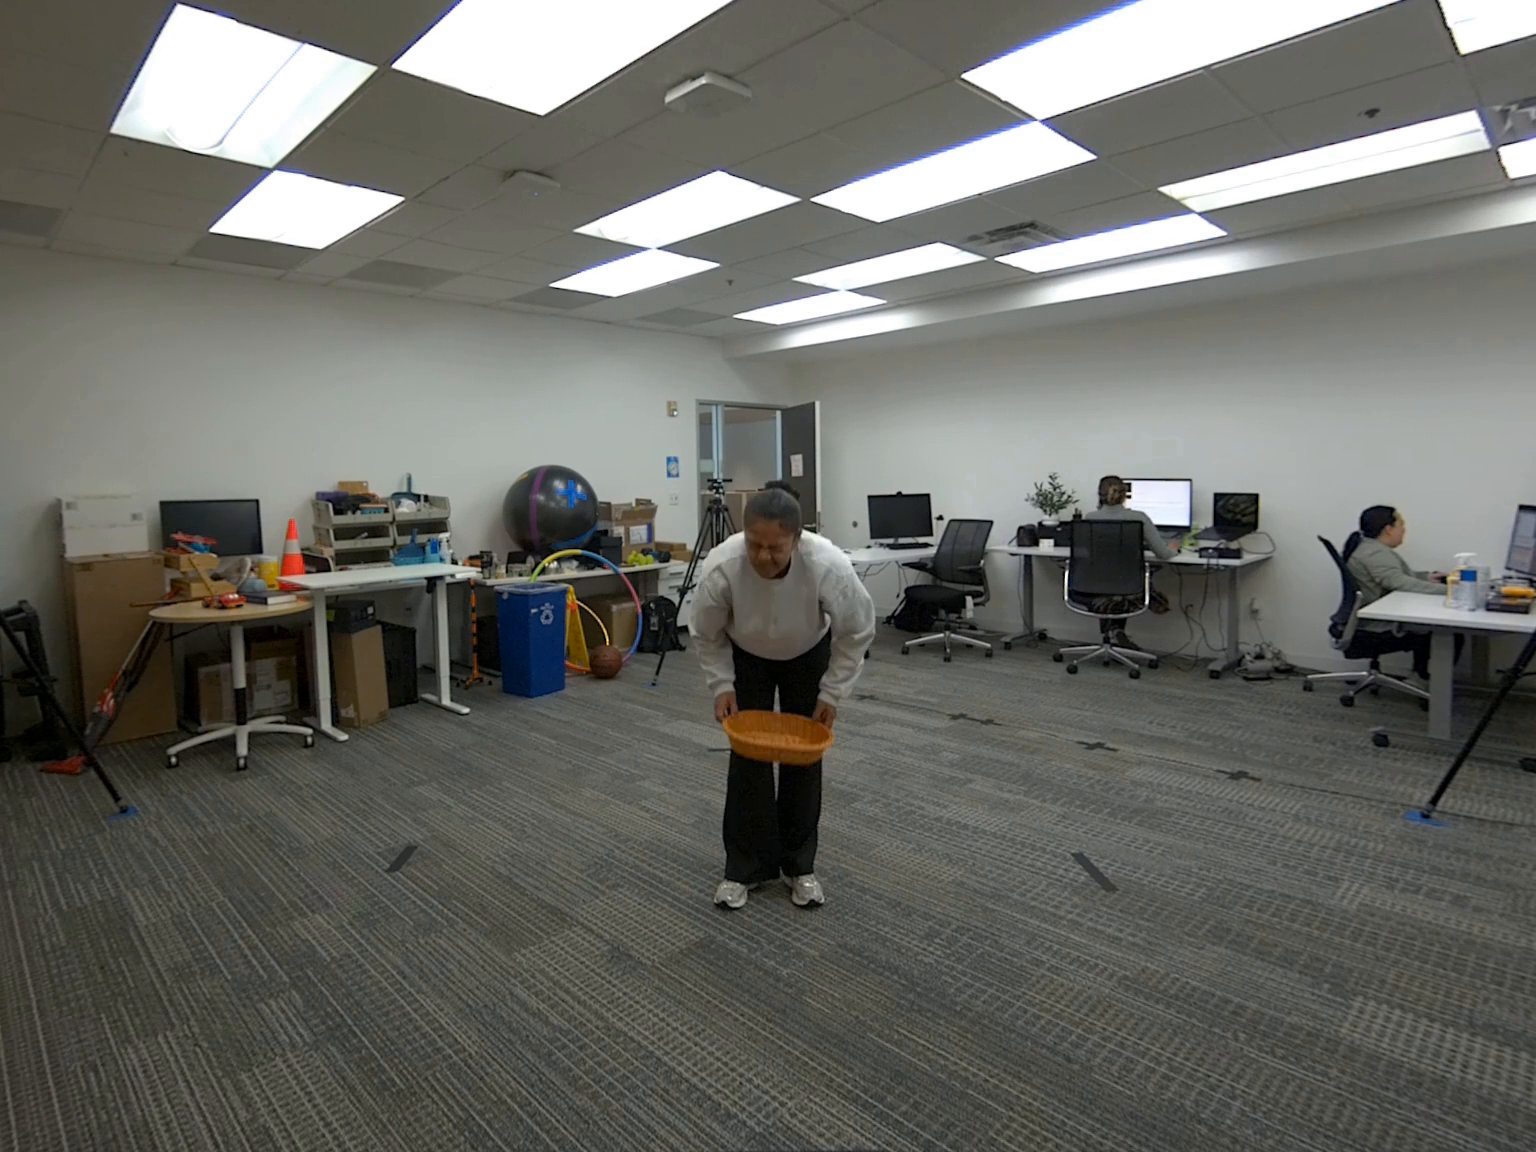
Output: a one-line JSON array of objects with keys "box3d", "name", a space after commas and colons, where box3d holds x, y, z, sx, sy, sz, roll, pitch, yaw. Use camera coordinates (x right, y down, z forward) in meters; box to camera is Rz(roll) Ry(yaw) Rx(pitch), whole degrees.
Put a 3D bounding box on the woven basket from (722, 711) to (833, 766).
[{"box3d": [0.034, 0.521, 2.644, 0.354, 0.073, 0.252, 7, 12, 10], "name": "woven basket"}]
